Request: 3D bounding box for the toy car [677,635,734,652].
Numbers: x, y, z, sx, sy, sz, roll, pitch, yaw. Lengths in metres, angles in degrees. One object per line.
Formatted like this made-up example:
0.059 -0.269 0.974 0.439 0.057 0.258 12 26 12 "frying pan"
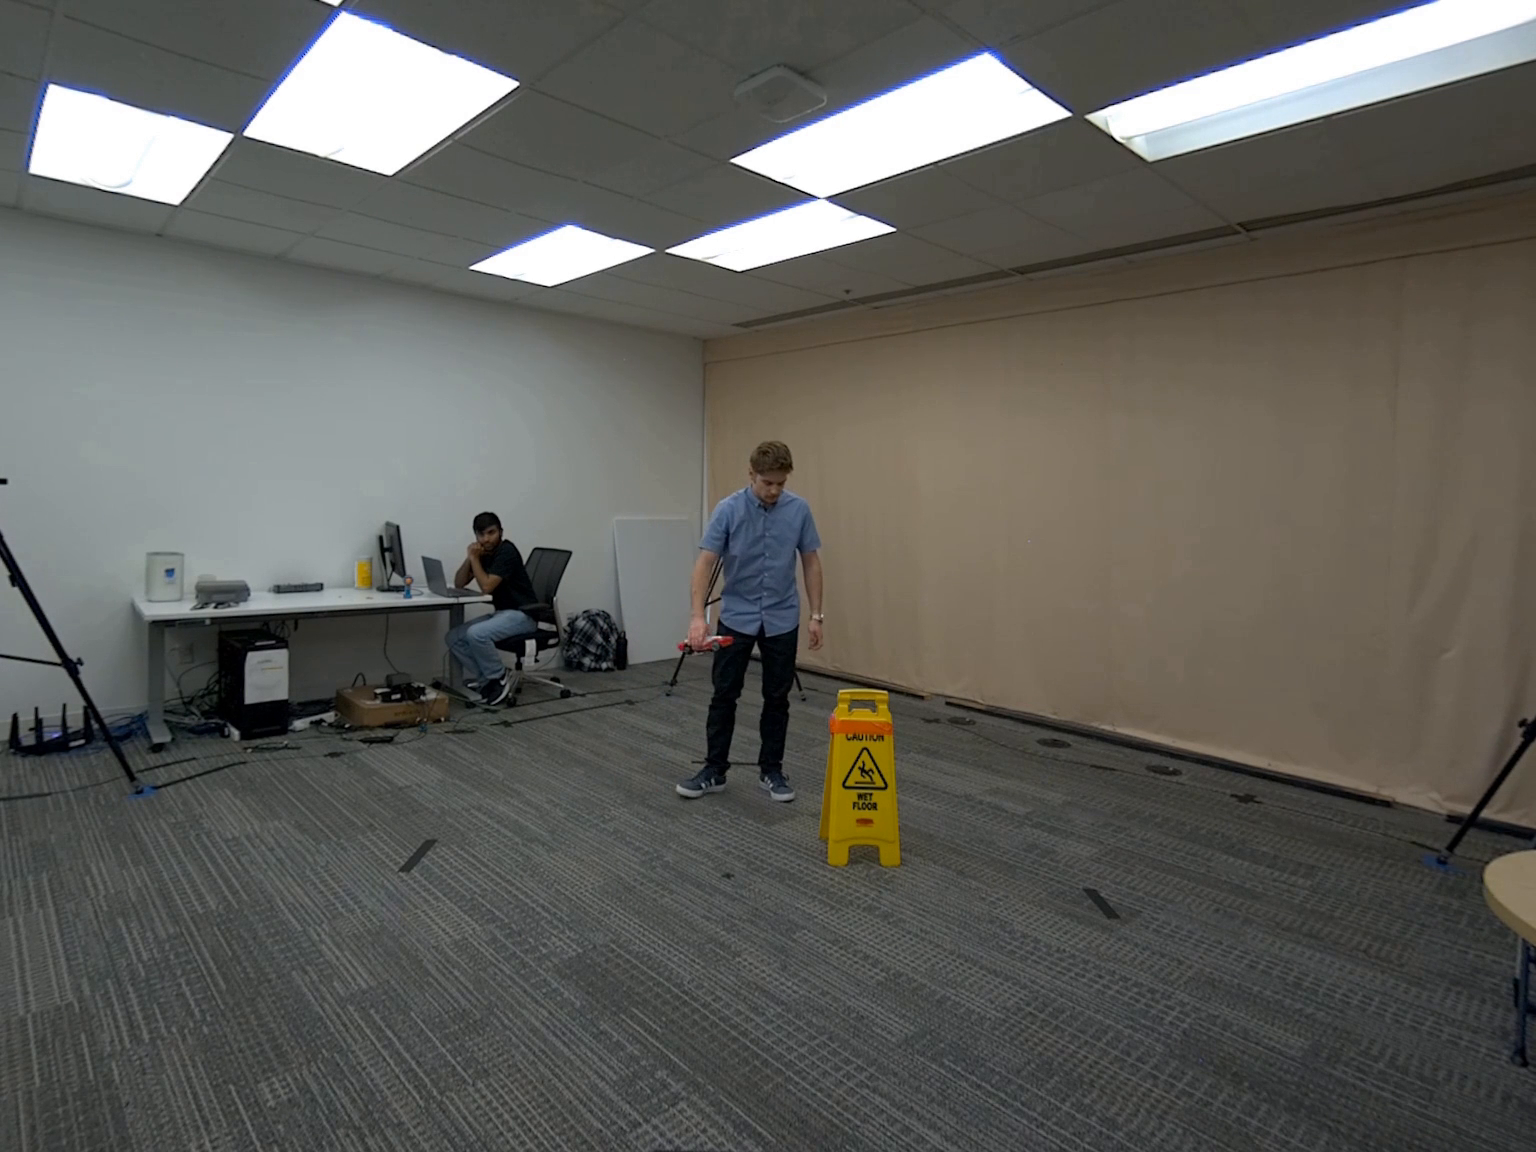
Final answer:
-0.300 0.303 3.661 0.260 0.083 0.128 1 3 31 "toy car"
